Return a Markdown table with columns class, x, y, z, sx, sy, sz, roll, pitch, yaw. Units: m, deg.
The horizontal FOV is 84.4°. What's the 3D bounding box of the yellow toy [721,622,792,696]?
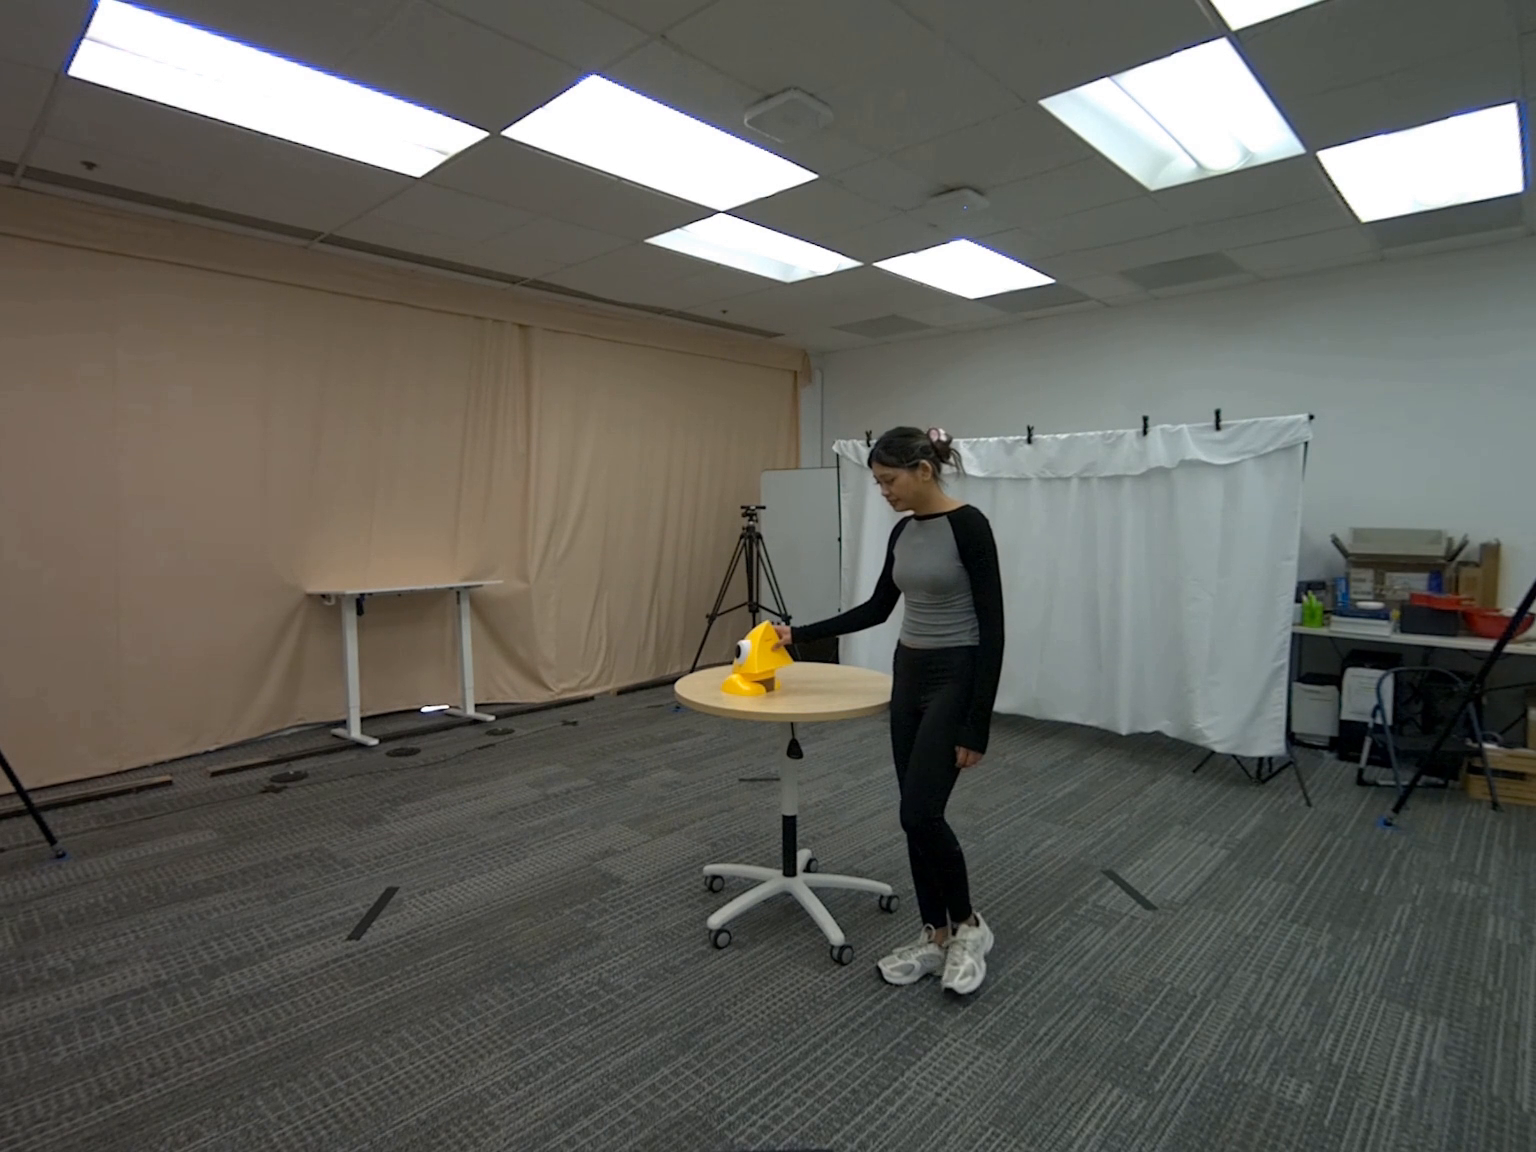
| class | x | y | z | sx | sy | sz | roll | pitch | yaw |
| --- | --- | --- | --- | --- | --- | --- | --- | --- | --- |
| yellow toy | -0.047 | 0.258 | 2.758 | 0.199 | 0.230 | 0.199 | 2 | 5 | 38 |
